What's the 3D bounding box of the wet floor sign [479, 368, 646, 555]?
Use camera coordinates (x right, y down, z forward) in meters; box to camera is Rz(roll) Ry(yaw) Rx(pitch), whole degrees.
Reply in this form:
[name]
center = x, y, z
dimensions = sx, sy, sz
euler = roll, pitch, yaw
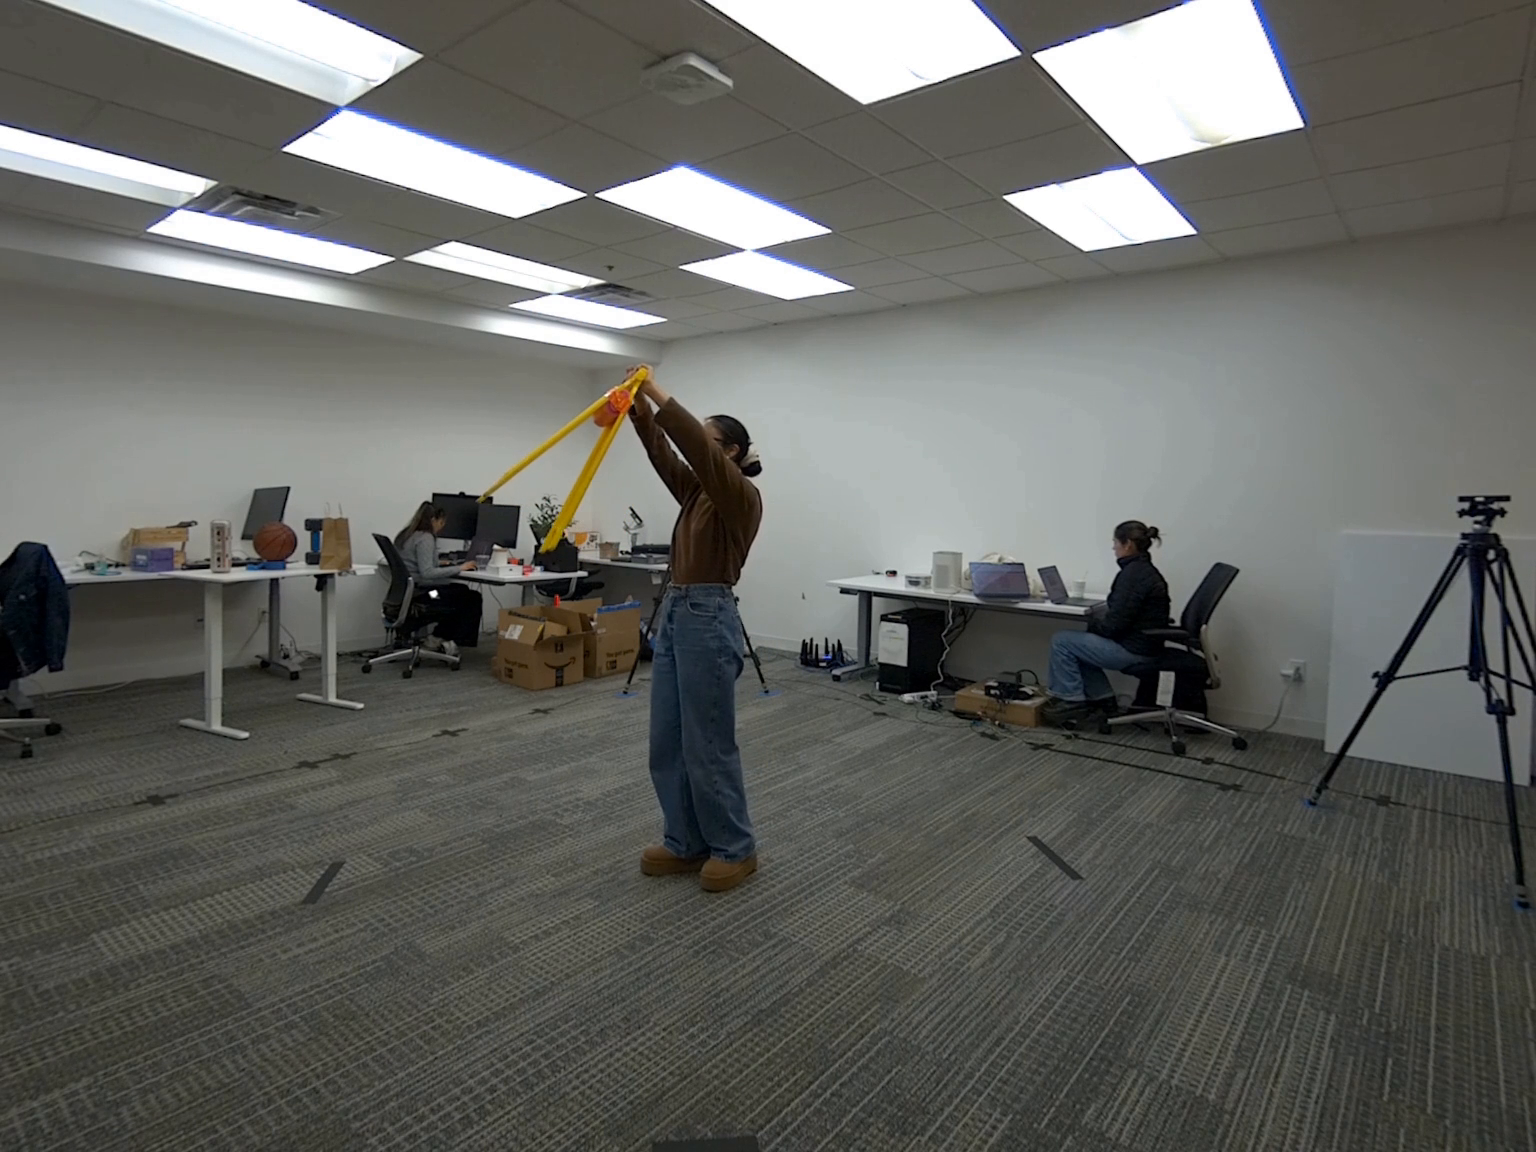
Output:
[wet floor sign]
center = -0.623, -0.416, 2.750
dimensions = 0.284, 0.647, 0.287
euler = 39, -13, -15
